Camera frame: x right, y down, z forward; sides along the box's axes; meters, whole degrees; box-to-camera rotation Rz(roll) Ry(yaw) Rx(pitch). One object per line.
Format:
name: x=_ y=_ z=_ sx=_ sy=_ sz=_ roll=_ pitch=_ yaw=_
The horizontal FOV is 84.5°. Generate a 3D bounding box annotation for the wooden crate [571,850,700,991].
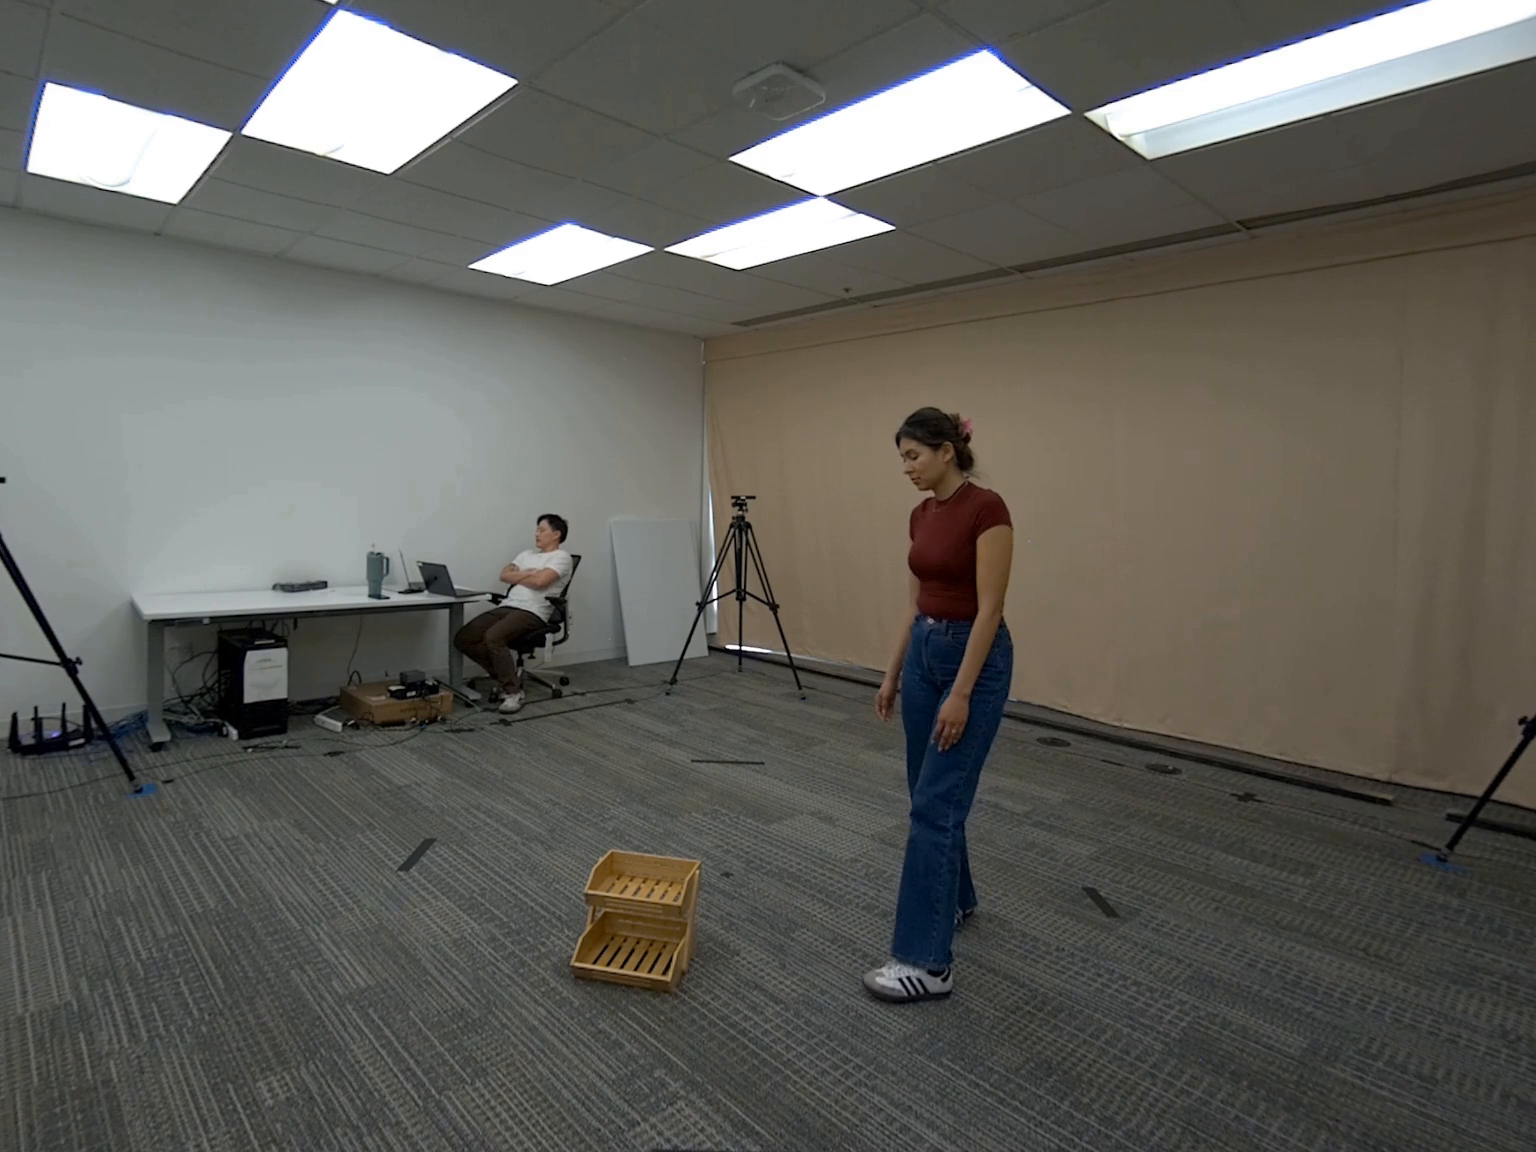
wooden crate: x=-0.392 y=1.024 z=2.503 sx=0.327 sy=0.272 sz=0.300 roll=1 pitch=5 yaw=10
